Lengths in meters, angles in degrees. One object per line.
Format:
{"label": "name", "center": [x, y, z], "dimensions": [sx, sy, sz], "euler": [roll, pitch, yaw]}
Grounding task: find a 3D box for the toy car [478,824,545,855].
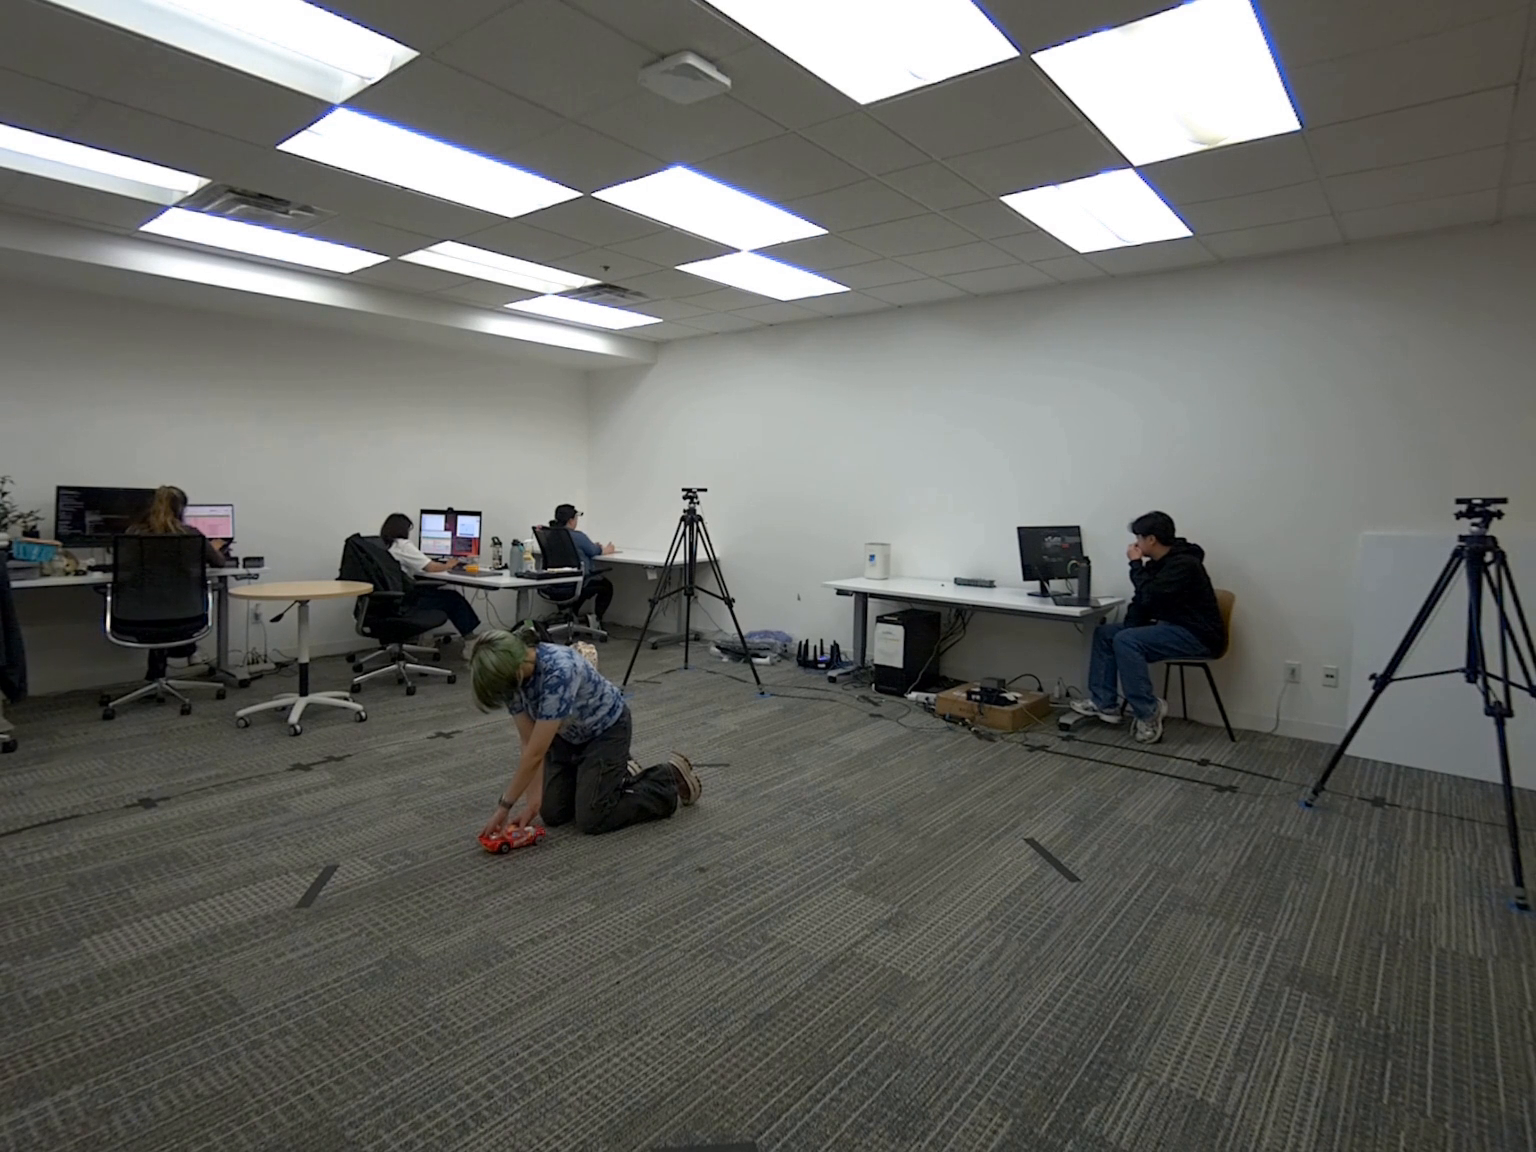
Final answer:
{"label": "toy car", "center": [-1.016, 1.015, 3.278], "dimensions": [0.245, 0.083, 0.134], "euler": [12, -7, -39]}
